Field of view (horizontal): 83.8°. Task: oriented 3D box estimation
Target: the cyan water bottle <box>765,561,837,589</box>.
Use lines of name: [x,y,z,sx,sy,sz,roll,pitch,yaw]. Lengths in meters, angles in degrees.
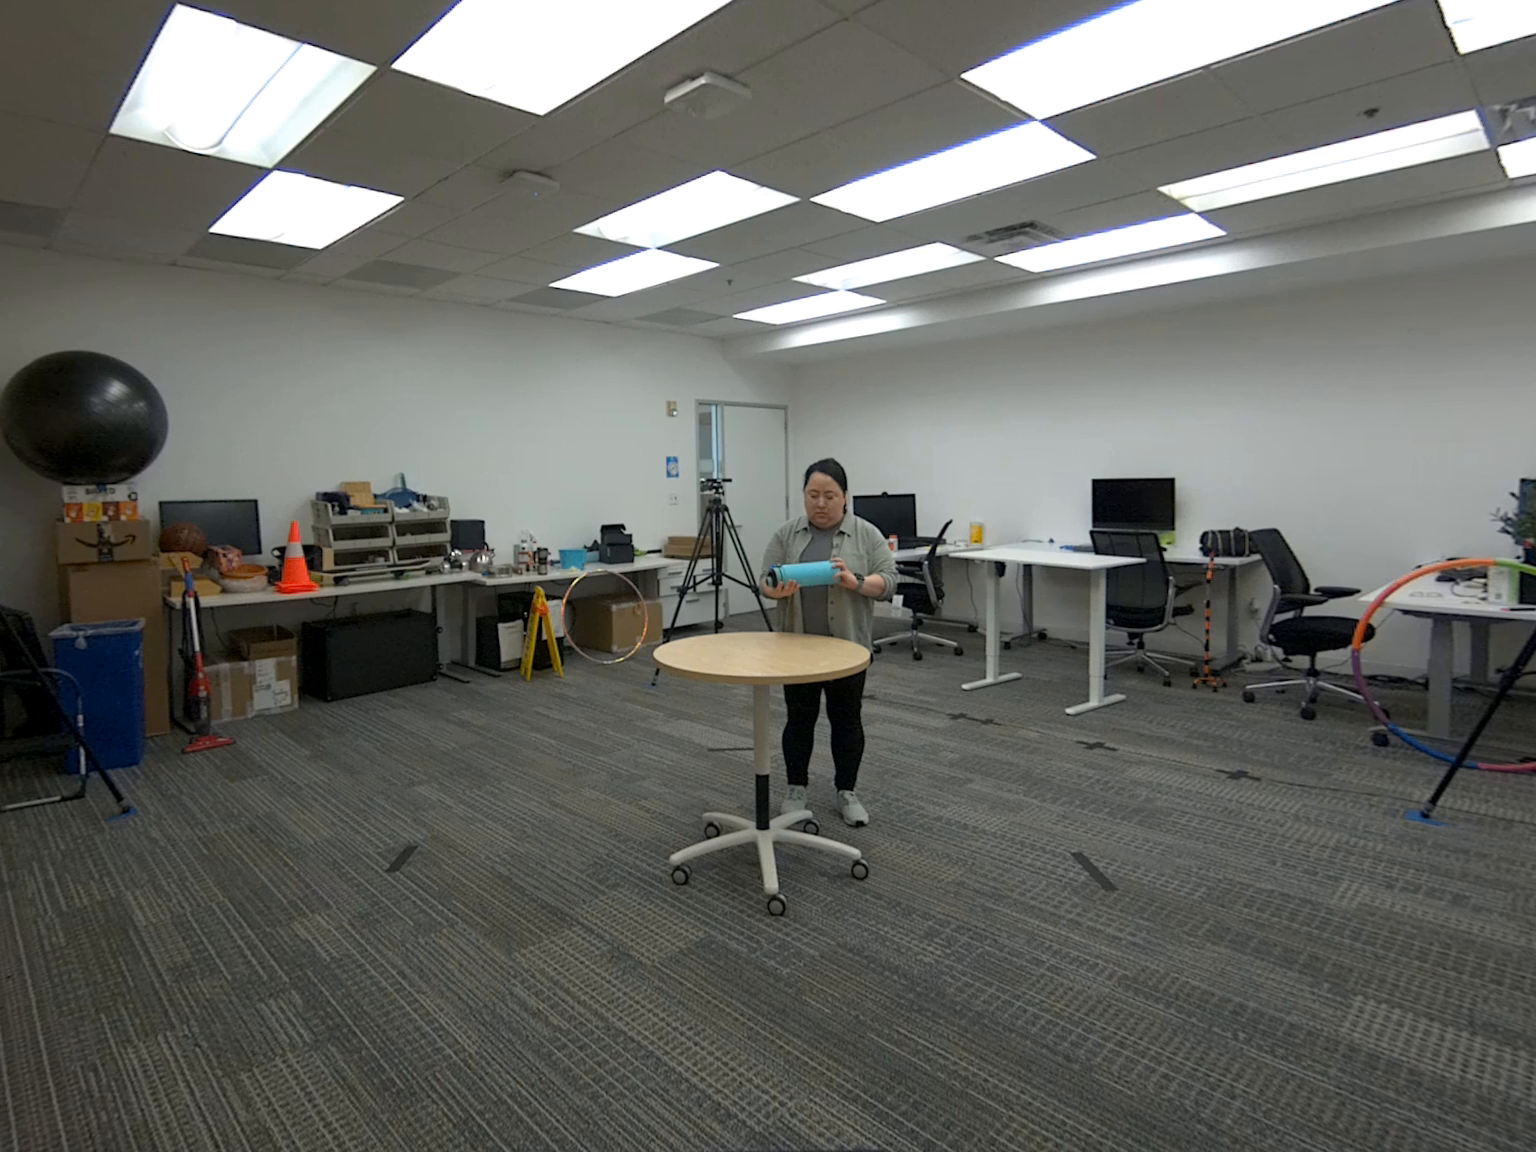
cyan water bottle: [0.137,-0.002,3.271,0.280,0.092,0.094,-4,5,-13]
